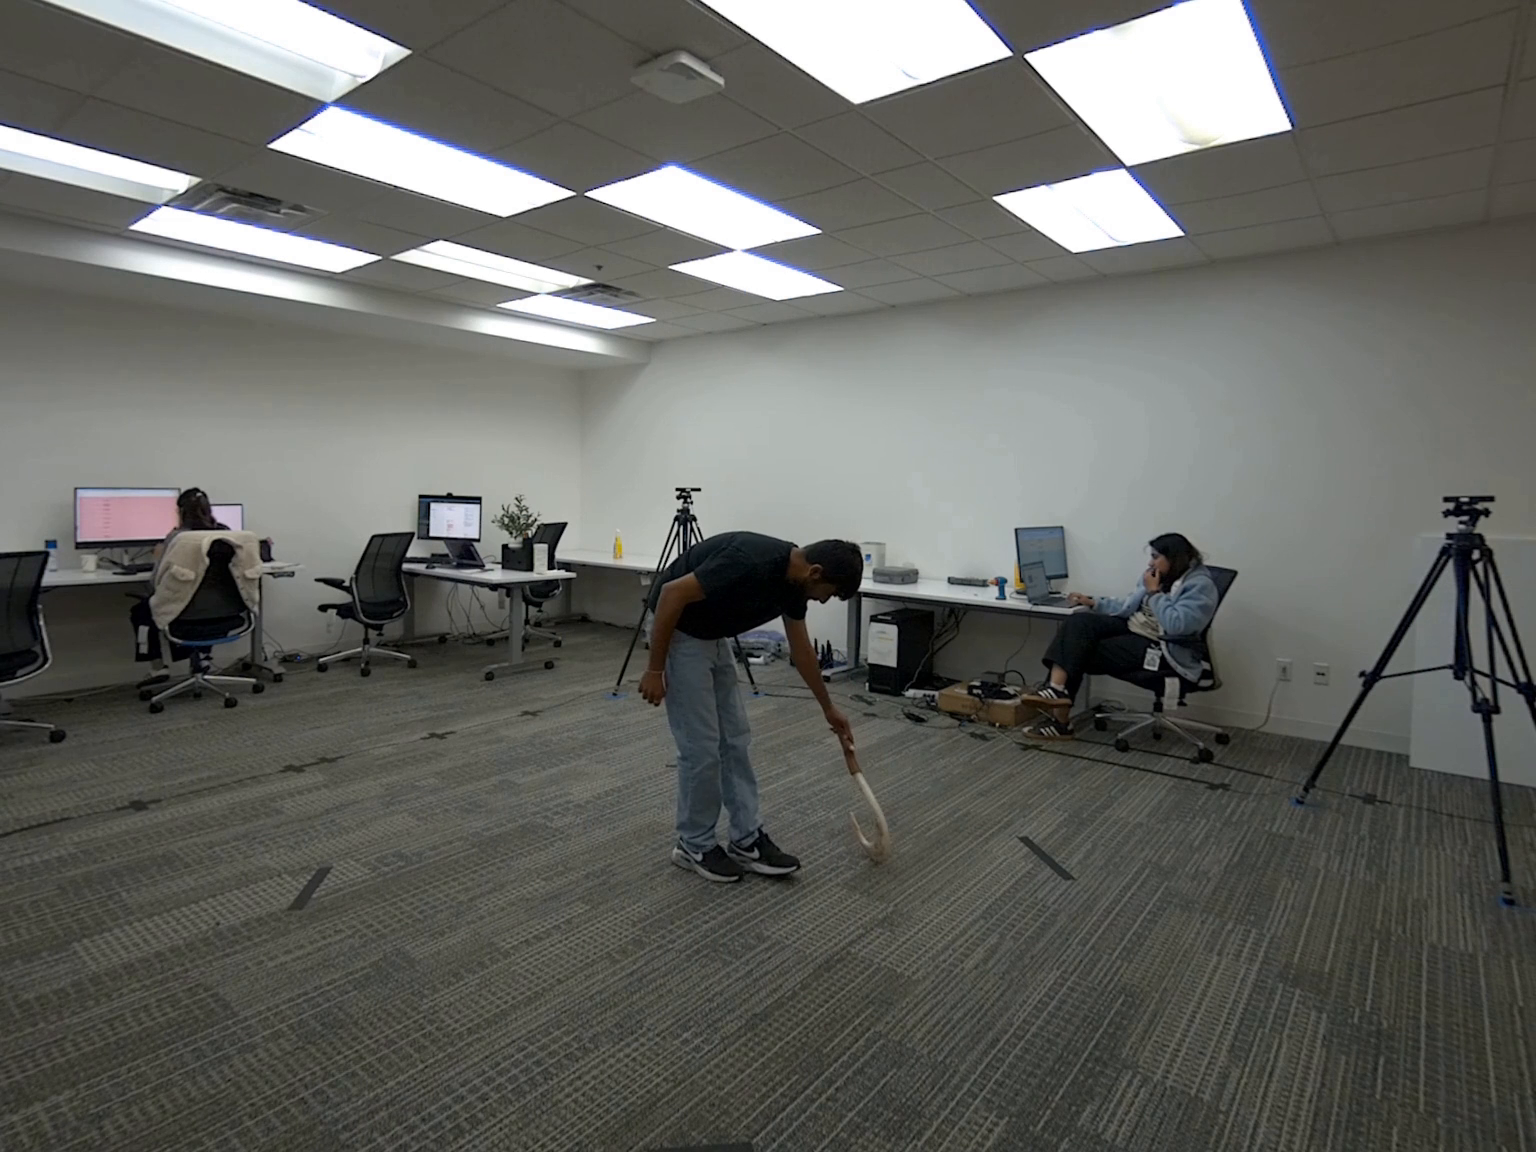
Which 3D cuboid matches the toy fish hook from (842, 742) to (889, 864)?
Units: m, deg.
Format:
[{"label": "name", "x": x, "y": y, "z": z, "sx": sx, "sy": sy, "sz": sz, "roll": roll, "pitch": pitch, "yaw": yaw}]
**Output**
[{"label": "toy fish hook", "x": 0.331, "y": 0.834, "z": 3.291, "sx": 0.047, "sy": 0.522, "sz": 0.223, "roll": -3, "pitch": -30, "yaw": -29}]
